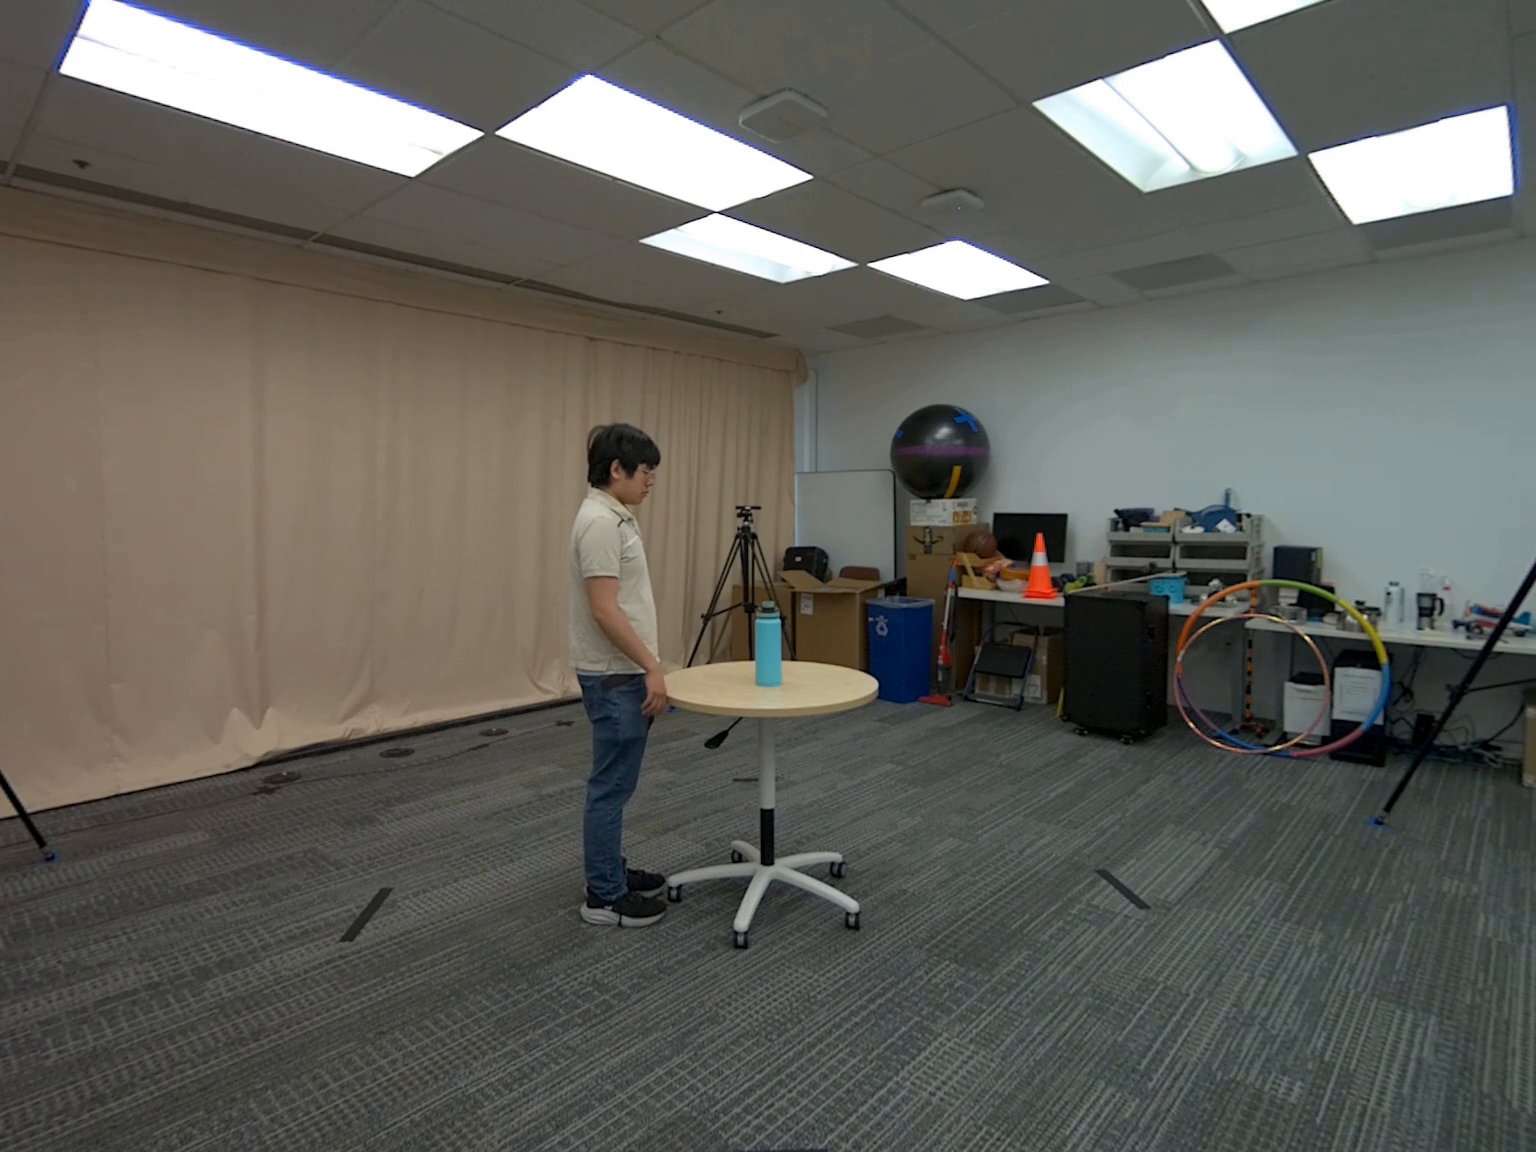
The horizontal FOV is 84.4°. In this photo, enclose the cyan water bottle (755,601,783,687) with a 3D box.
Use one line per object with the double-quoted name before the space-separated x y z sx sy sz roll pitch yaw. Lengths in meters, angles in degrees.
"cyan water bottle" 0.002 0.231 2.873 0.092 0.283 0.092 -2 1 -2
